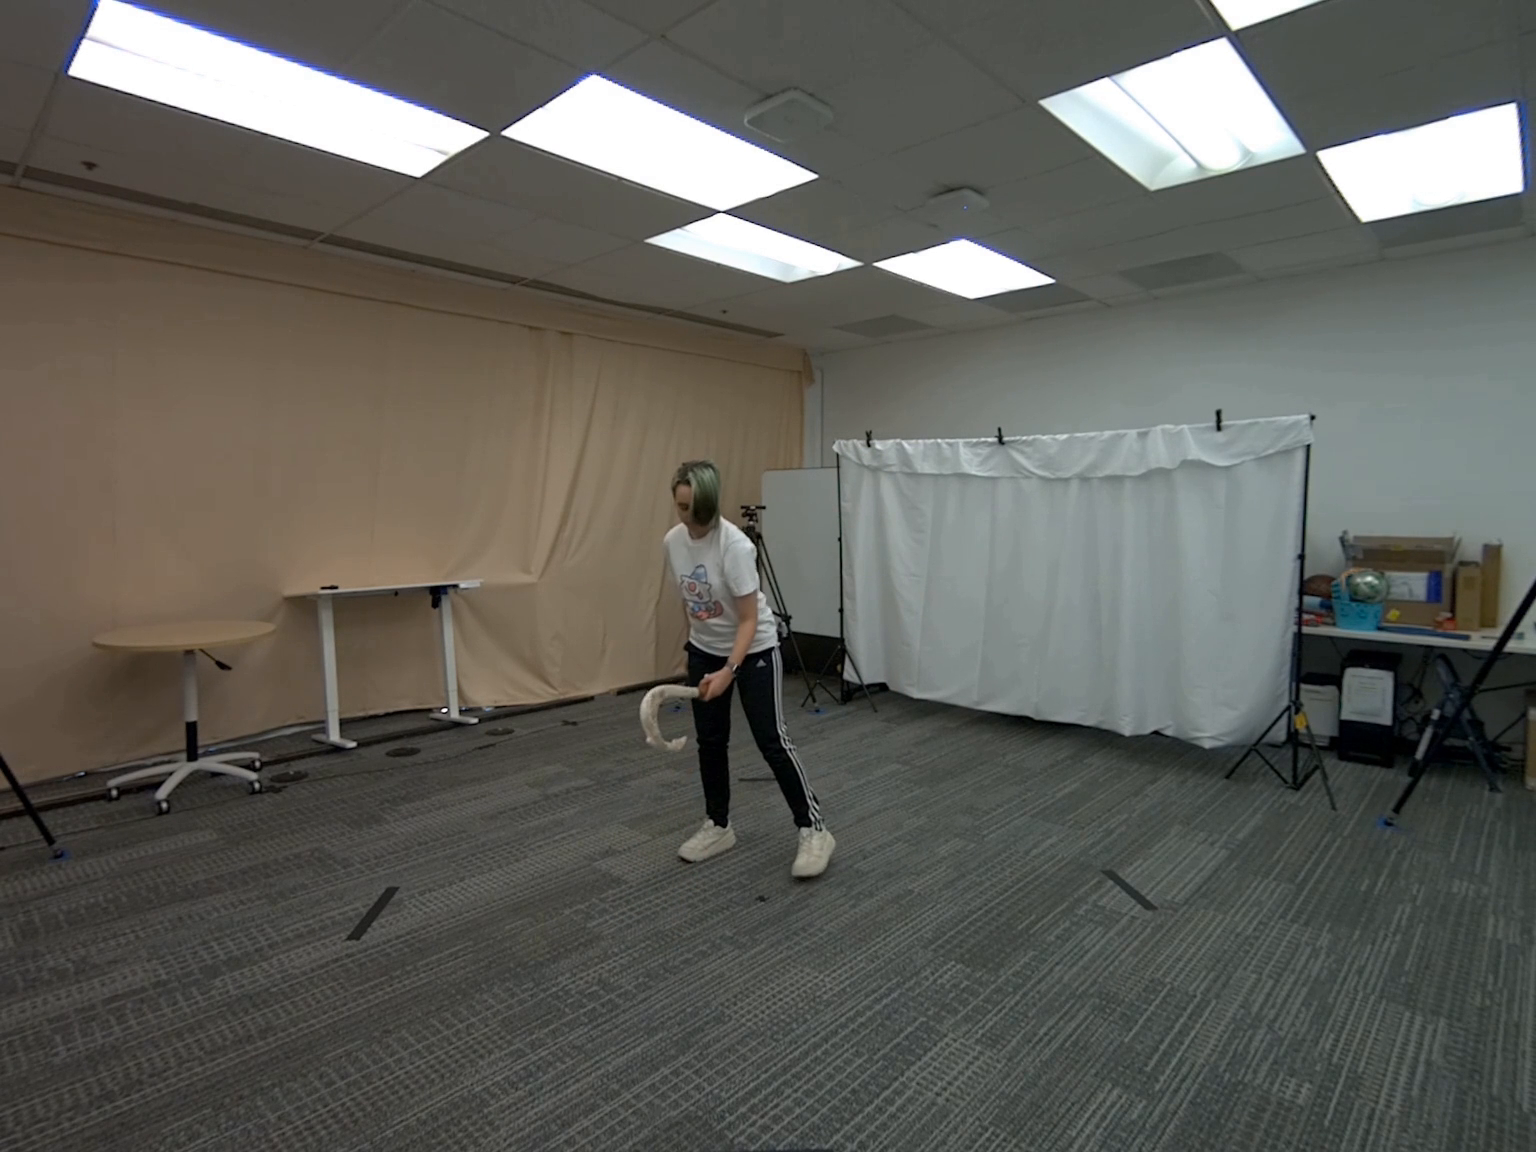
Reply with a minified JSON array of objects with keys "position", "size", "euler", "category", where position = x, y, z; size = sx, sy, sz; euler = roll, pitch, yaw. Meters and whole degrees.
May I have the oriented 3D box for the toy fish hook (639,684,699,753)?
[{"position":[-0.273,0.468,2.932],"size":[0.049,0.224,0.493],"euler":[-9,2,33],"category":"toy fish hook"}]
